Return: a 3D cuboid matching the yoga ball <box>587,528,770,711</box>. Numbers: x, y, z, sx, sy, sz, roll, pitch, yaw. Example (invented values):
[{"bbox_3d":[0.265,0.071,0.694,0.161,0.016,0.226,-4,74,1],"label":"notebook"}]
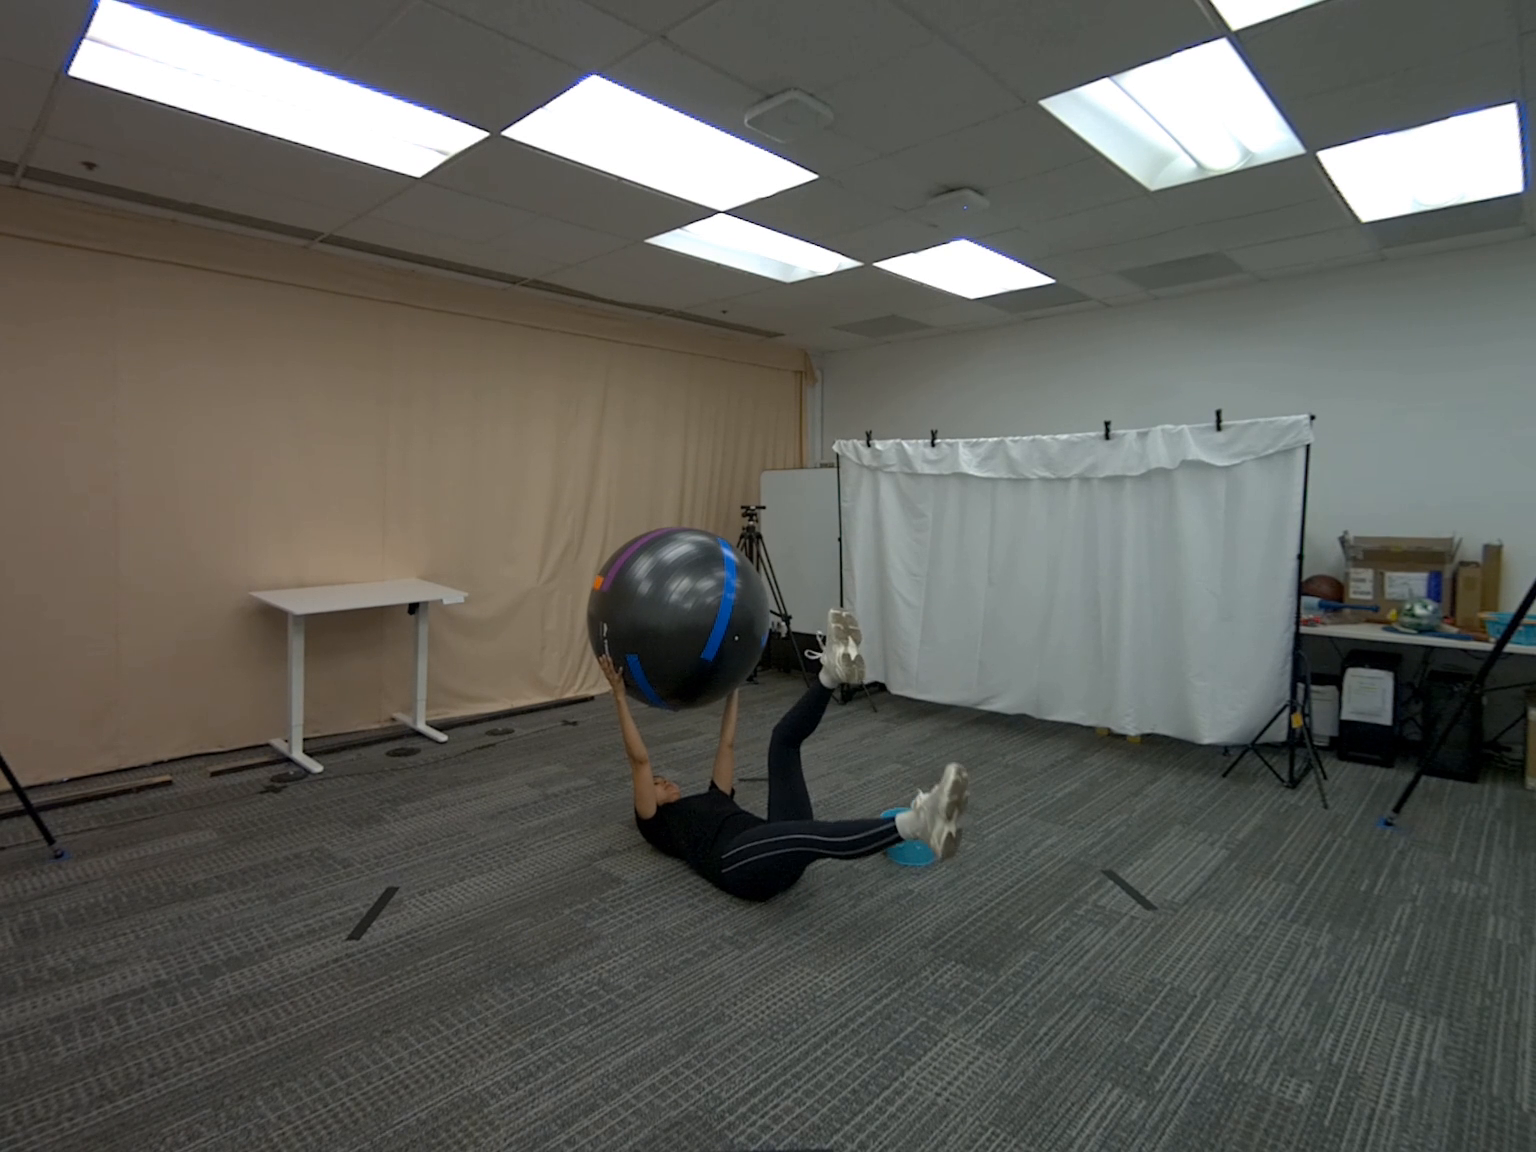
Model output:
[{"bbox_3d":[-0.370,0.177,3.504,0.757,0.756,0.761,3,5,-2],"label":"yoga ball"}]
